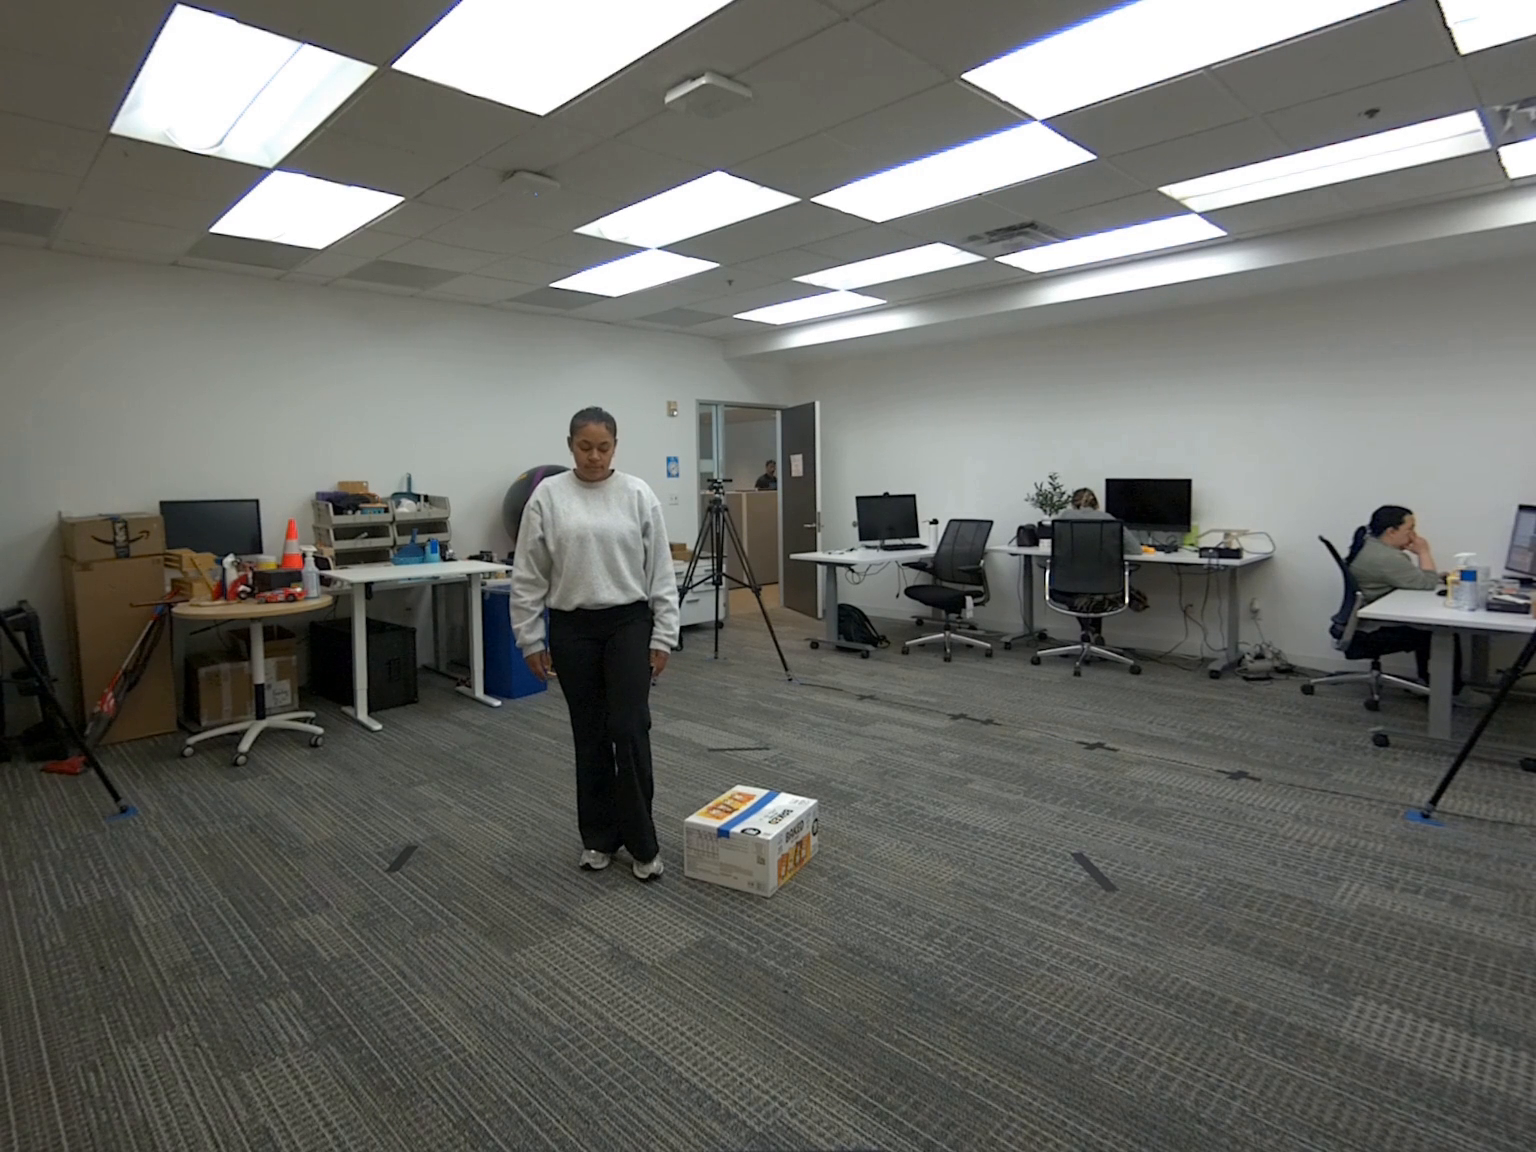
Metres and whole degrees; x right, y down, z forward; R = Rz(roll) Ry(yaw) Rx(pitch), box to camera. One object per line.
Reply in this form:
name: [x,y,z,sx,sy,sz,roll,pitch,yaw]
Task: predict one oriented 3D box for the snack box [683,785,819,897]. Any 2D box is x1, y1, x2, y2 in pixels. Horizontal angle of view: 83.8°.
snack box: [-0.056,0.942,3.089,0.349,0.205,0.397,2,6,29]
